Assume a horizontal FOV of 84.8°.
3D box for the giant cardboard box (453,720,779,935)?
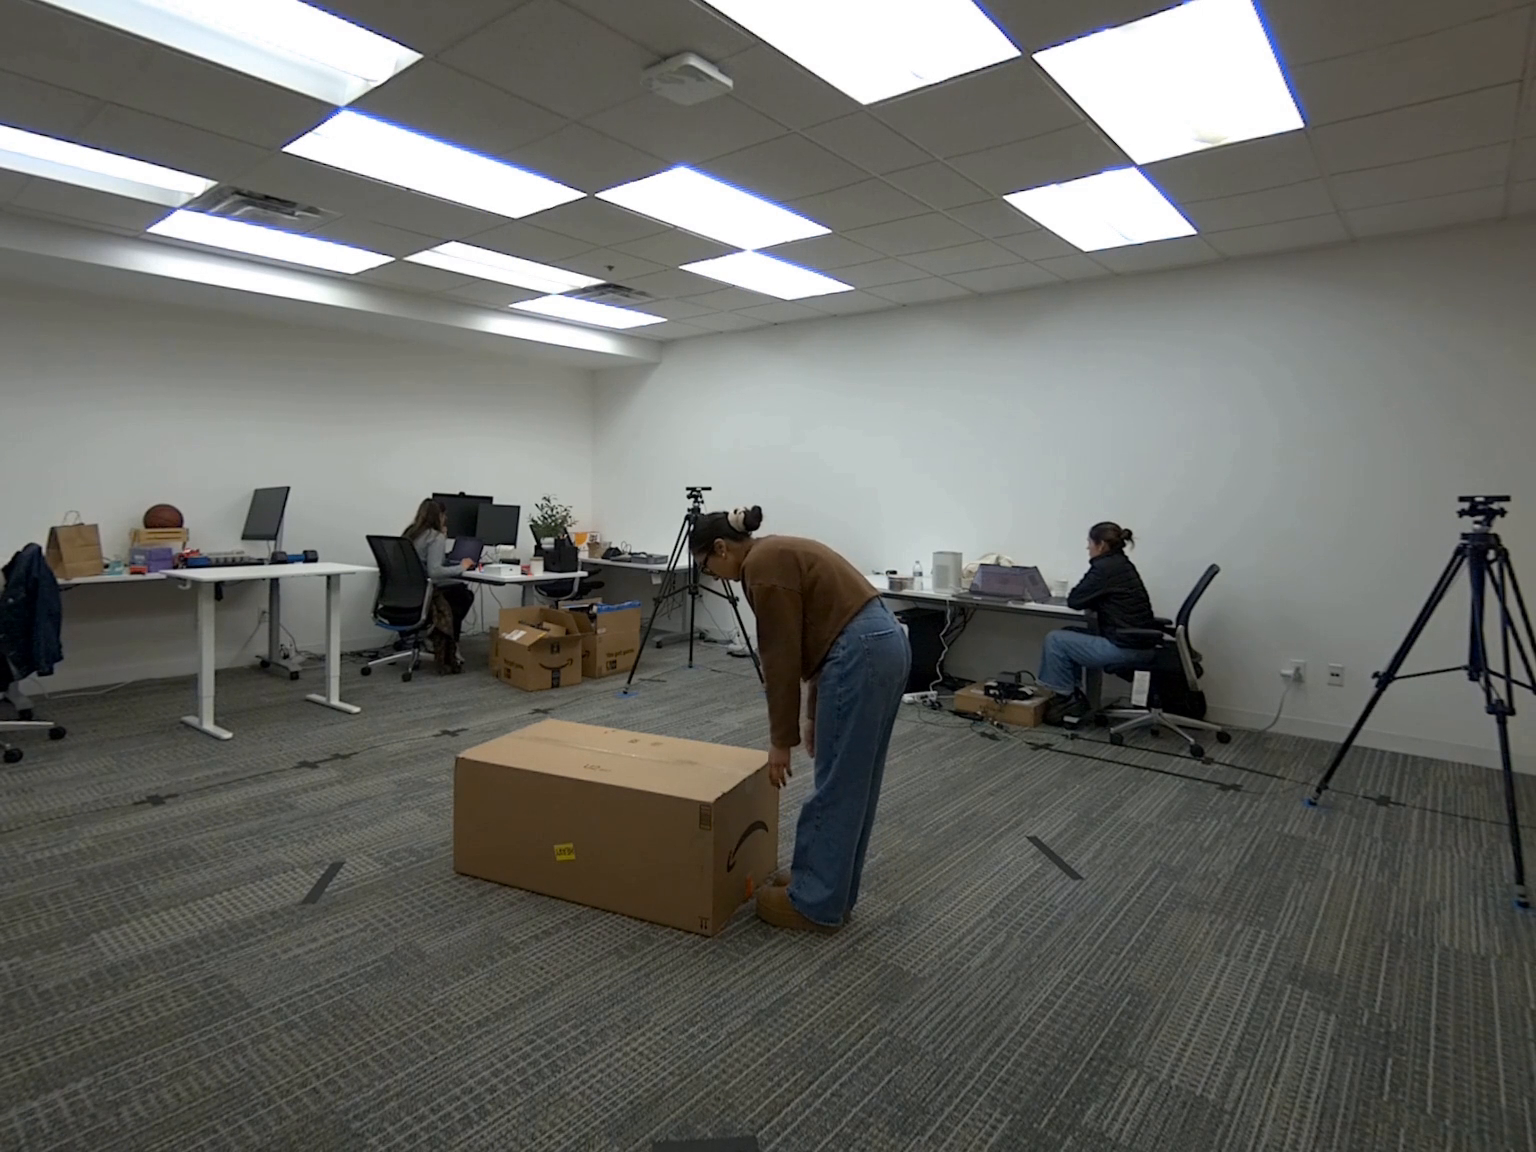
[{"bbox_3d":[-0.554,0.851,3.074,1.052,0.445,0.572,3,6,23],"label":"giant cardboard box"}]
